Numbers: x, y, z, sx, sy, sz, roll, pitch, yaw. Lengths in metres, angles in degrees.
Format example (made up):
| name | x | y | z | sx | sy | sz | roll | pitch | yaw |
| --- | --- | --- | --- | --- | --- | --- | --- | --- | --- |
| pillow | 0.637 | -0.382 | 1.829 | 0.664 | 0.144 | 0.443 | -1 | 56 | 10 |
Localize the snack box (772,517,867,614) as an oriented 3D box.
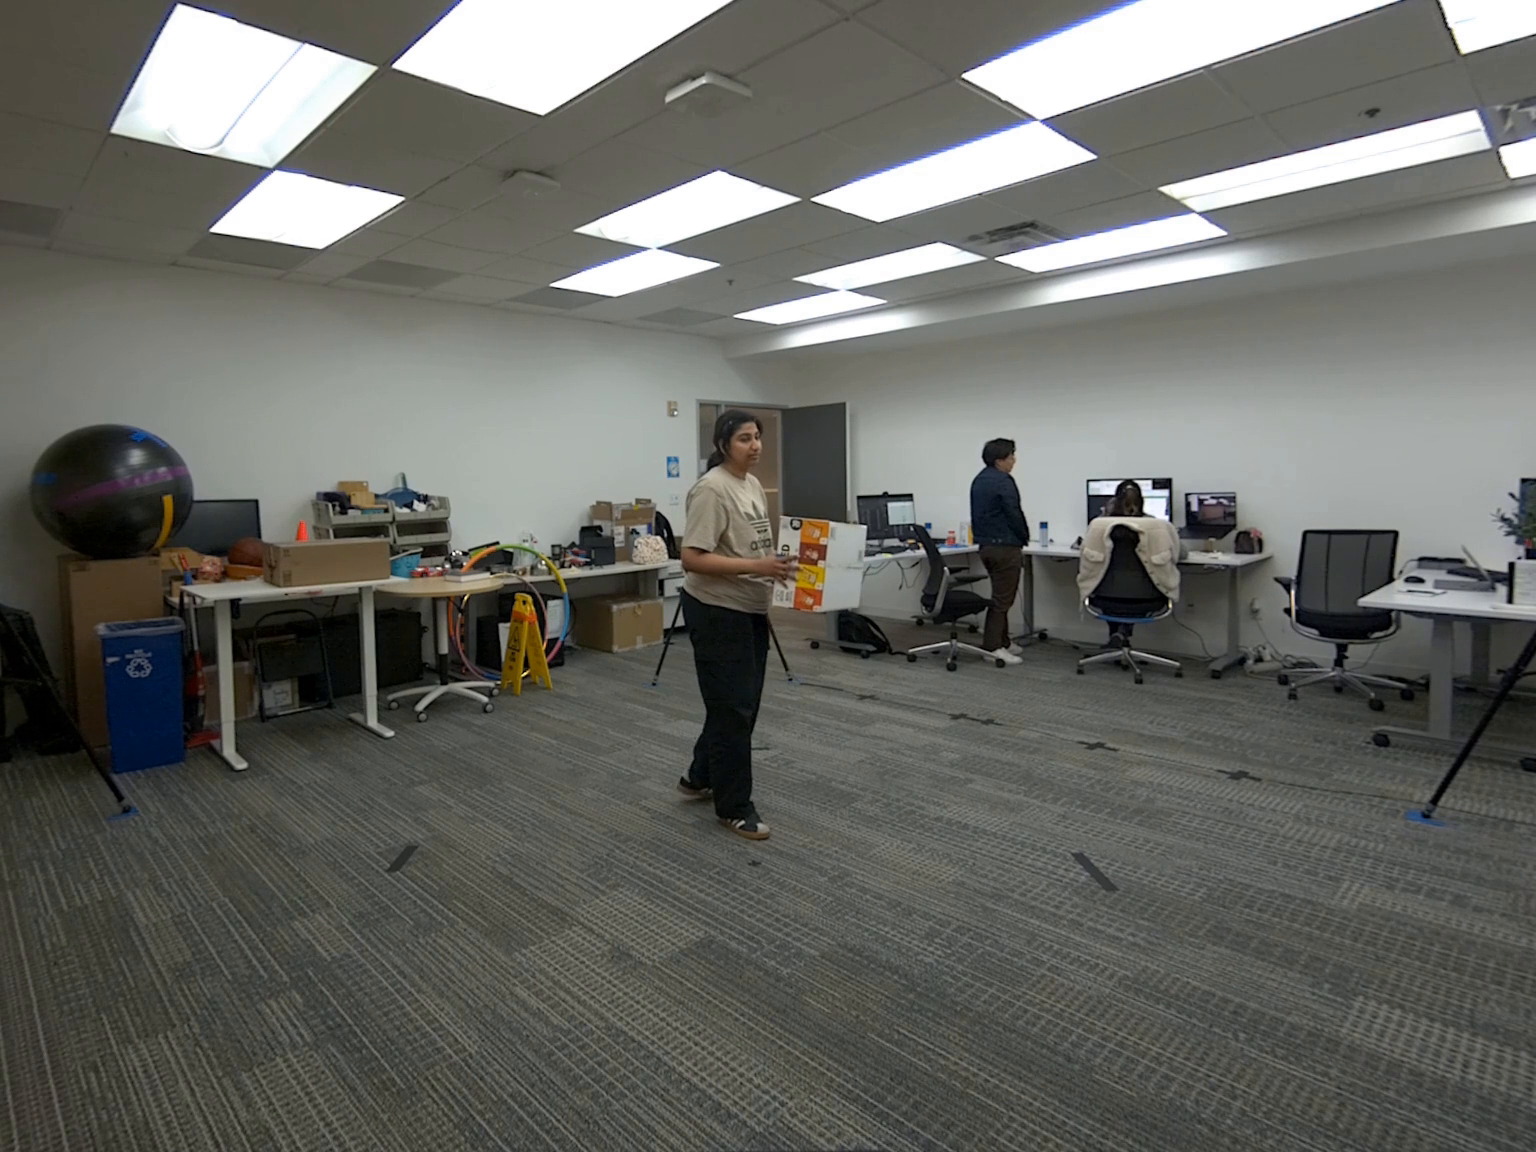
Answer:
| name | x | y | z | sx | sy | sz | roll | pitch | yaw |
| --- | --- | --- | --- | --- | --- | --- | --- | --- | --- |
| snack box | 0.207 | -0.046 | 3.352 | 0.211 | 0.340 | 0.395 | 7 | 3 | 28 |
